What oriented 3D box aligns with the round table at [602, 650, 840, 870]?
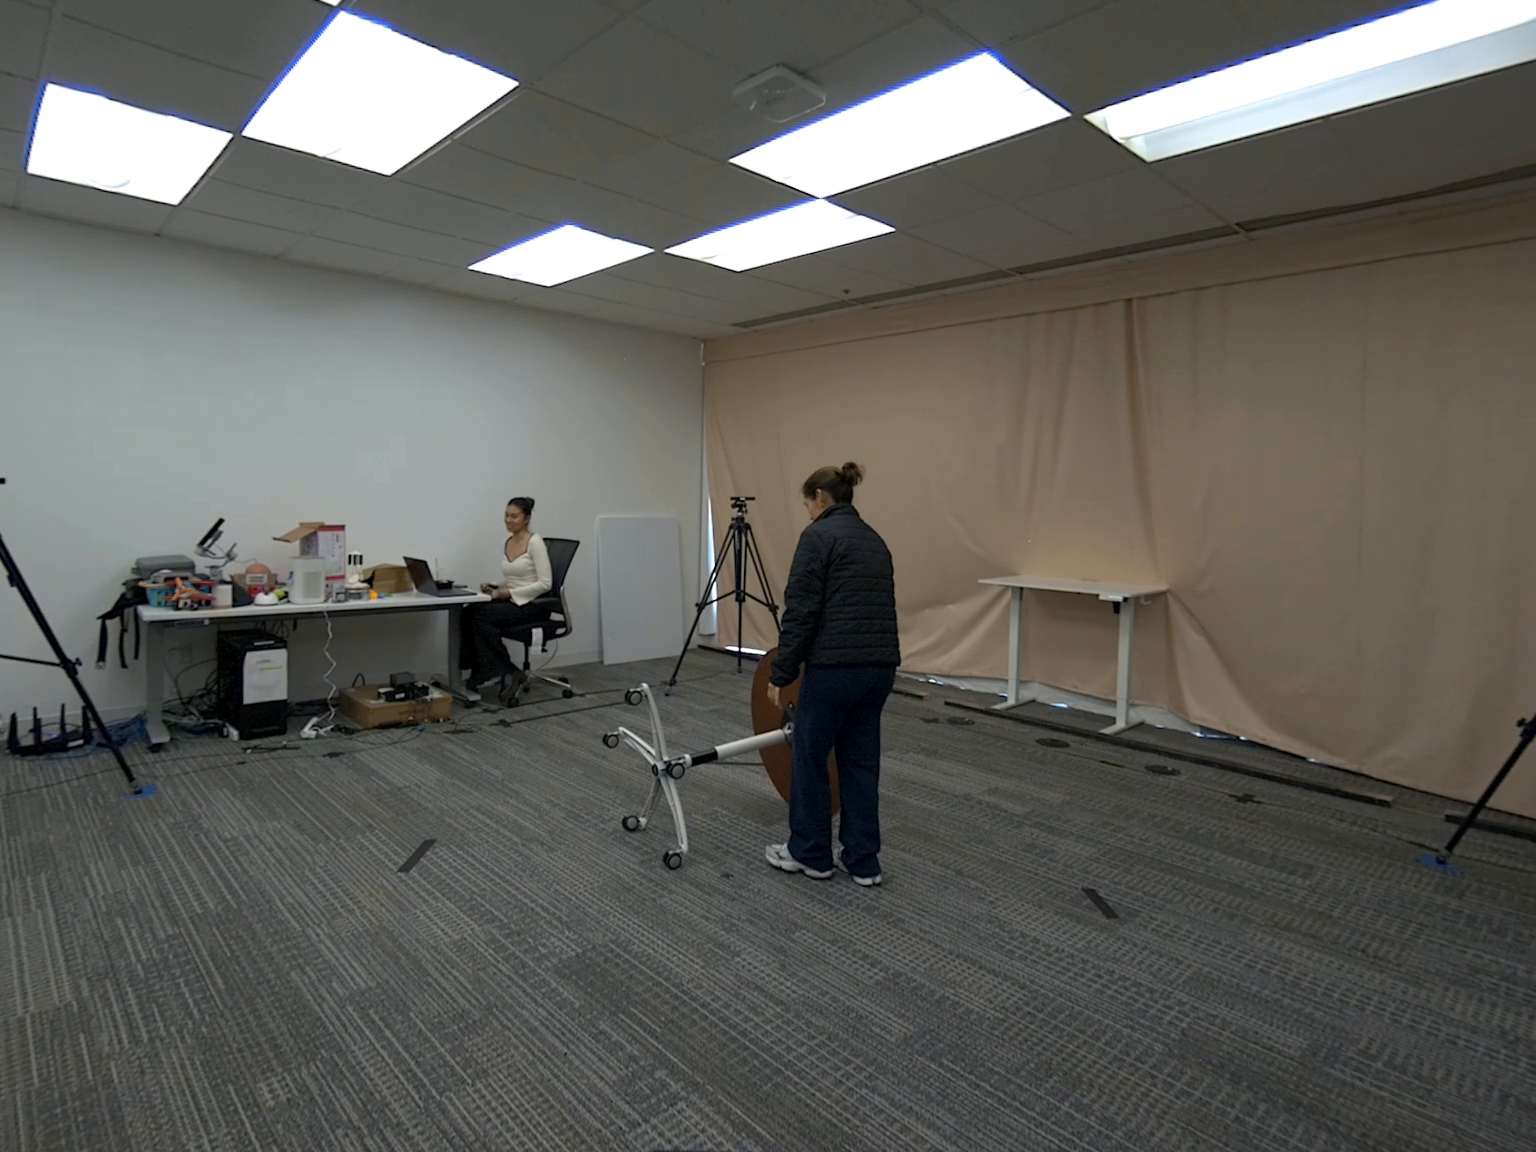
[{"bbox_3d":[-0.185,0.738,3.490,0.773,0.780,0.804,-10,9,-32],"label":"round table"}]
